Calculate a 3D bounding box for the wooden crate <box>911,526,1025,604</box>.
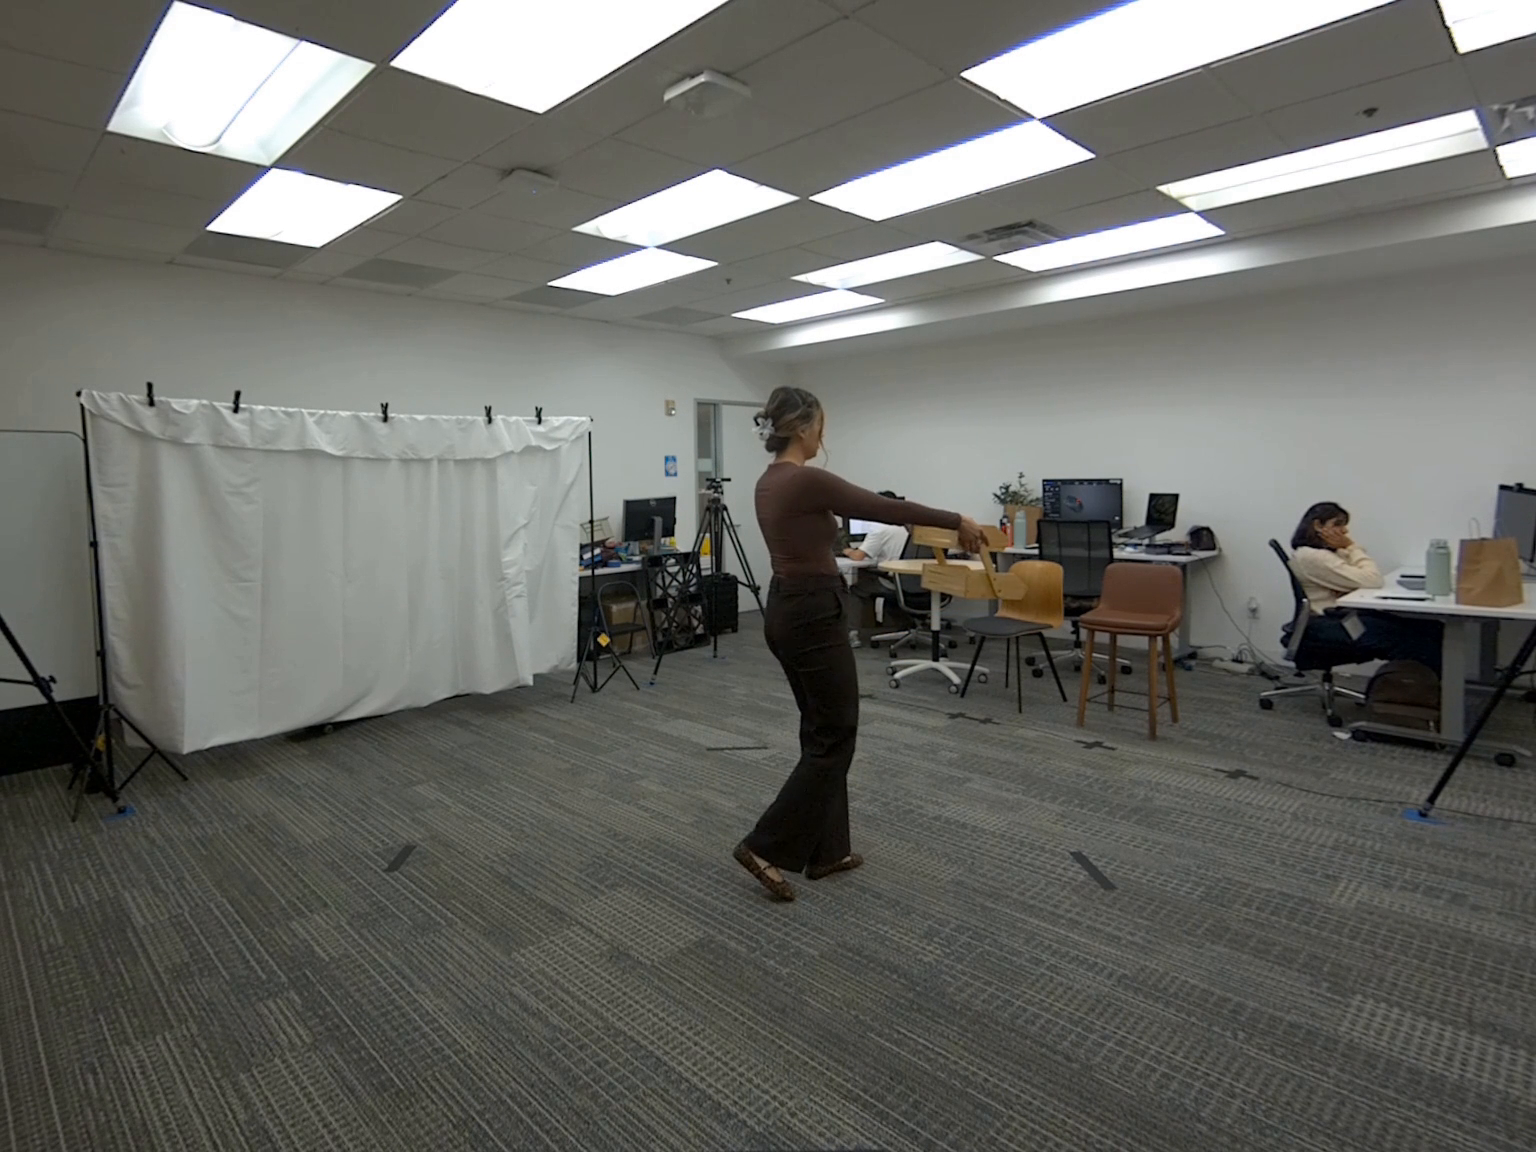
[{"bbox_3d":[0.729,-0.069,3.147,0.297,0.272,0.331,2,5,-16],"label":"wooden crate"}]
